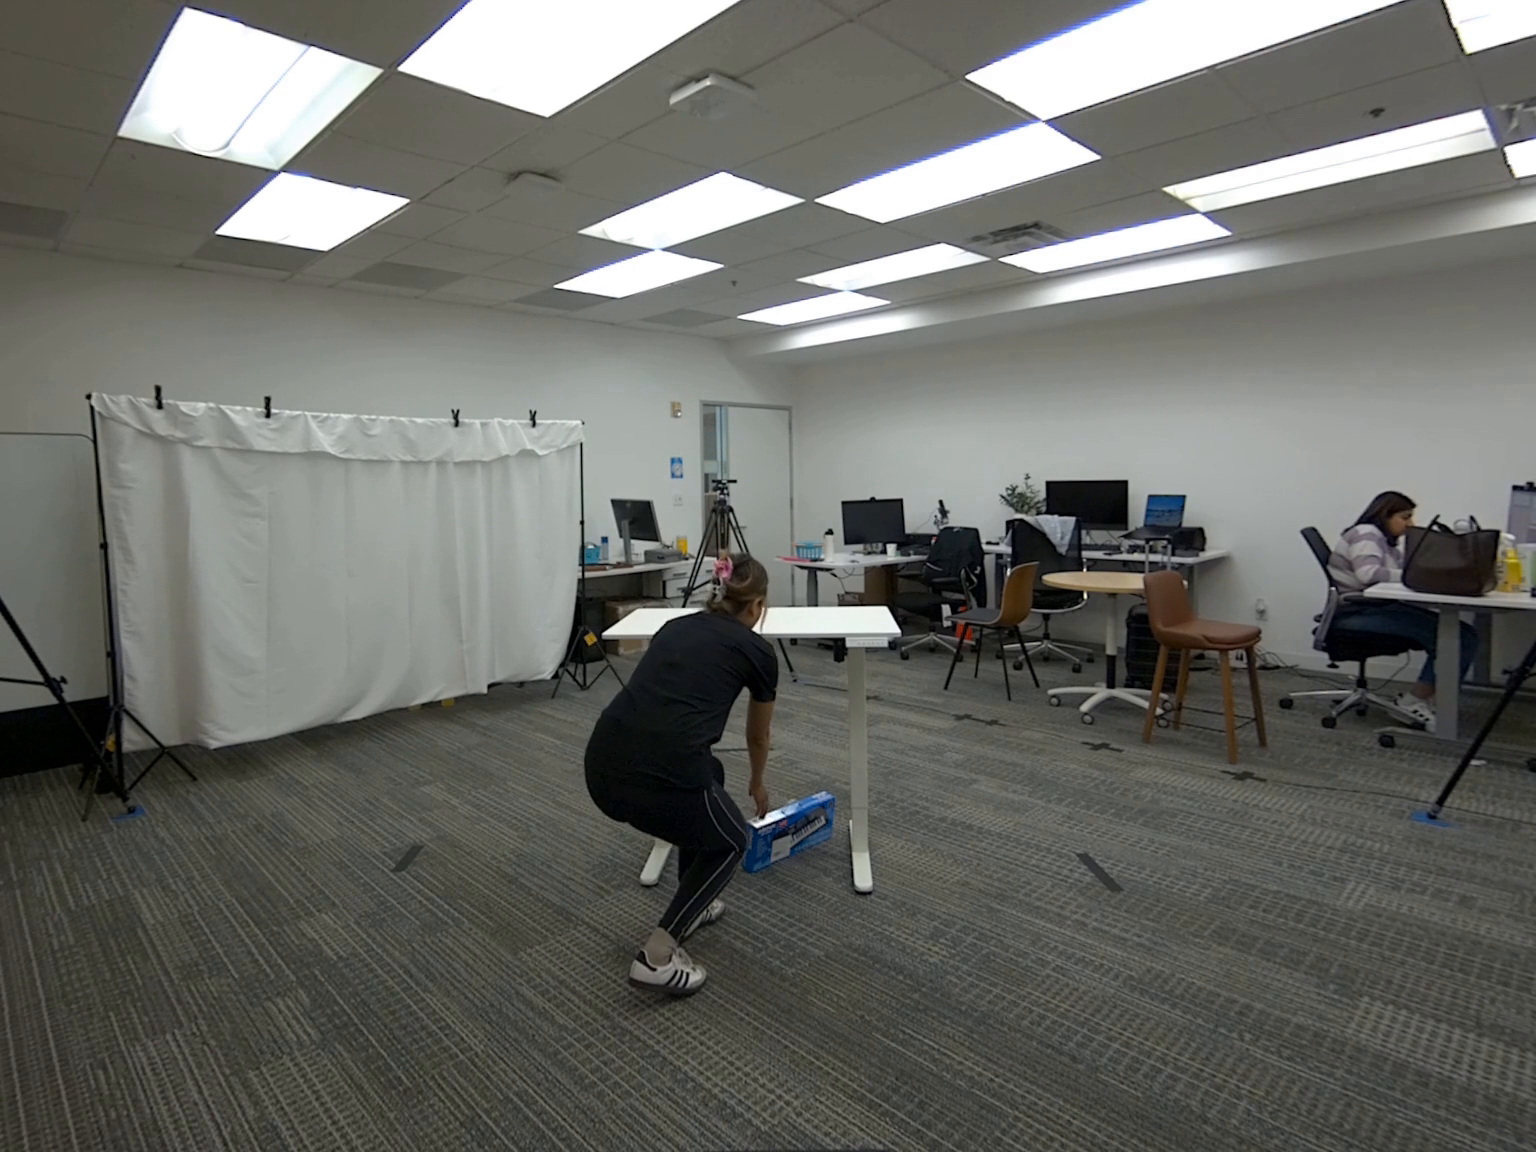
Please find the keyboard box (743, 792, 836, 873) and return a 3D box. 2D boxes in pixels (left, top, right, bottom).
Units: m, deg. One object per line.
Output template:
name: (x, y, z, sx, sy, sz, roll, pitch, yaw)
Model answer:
keyboard box: (0.084, 0.949, 3.186, 0.425, 0.174, 0.061, -7, 15, -44)
